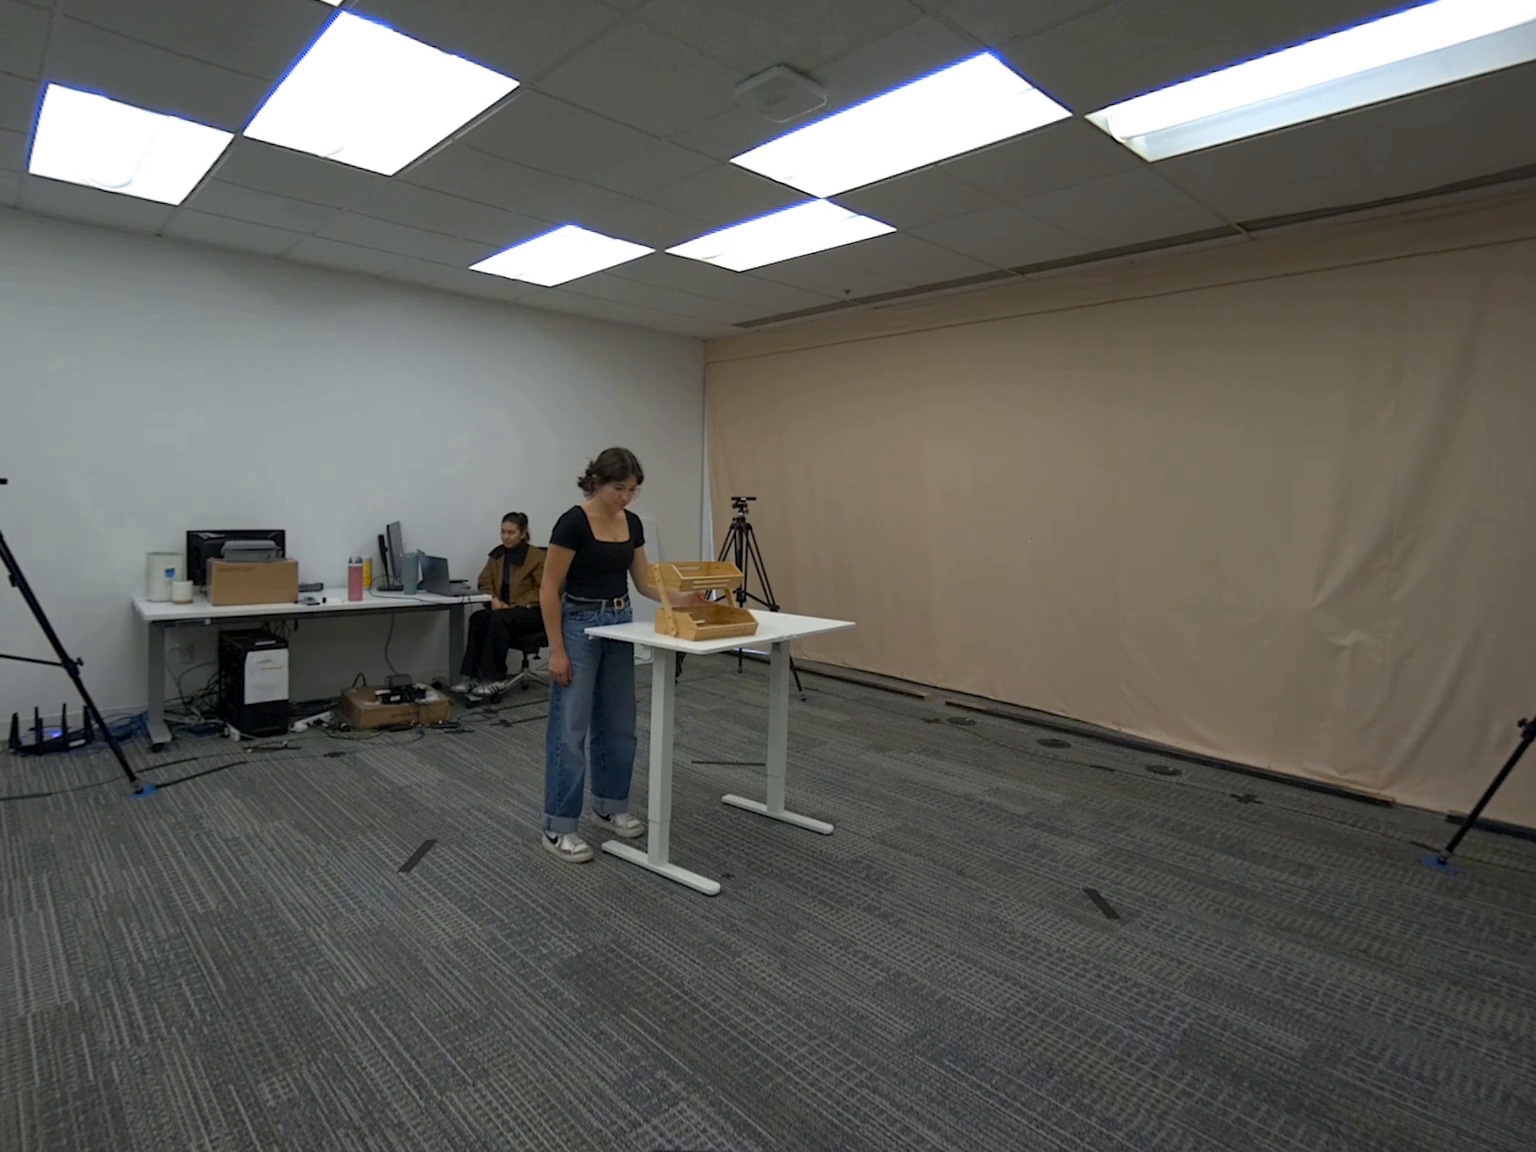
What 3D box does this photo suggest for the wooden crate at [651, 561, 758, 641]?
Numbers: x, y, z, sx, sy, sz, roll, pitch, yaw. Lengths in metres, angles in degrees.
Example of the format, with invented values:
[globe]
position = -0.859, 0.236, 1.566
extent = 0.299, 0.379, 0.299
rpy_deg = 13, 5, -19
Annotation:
[wooden crate]
position = -0.248, 0.082, 3.164
extent = 0.317, 0.273, 0.309
rpy_deg = -1, 4, -43
